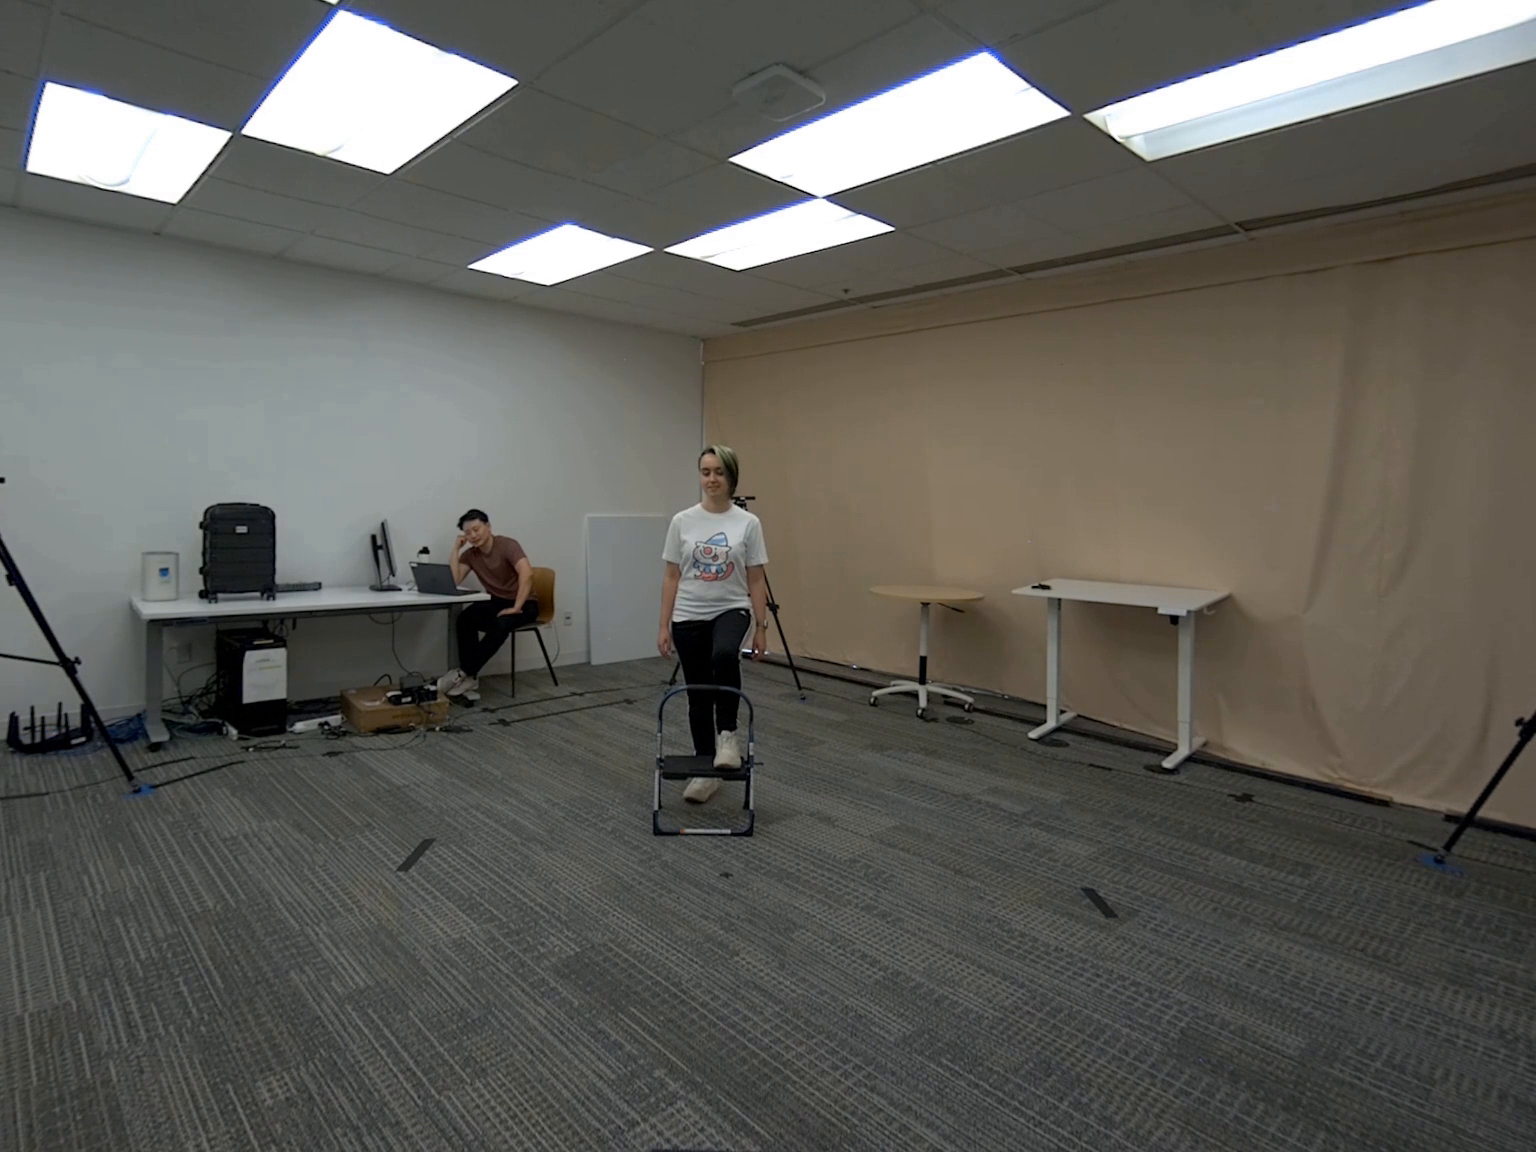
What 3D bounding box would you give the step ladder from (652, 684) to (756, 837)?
[{"bbox_3d":[-0.284,0.760,3.614,0.429,0.605,0.351,1,3,-5],"label":"step ladder"}]
